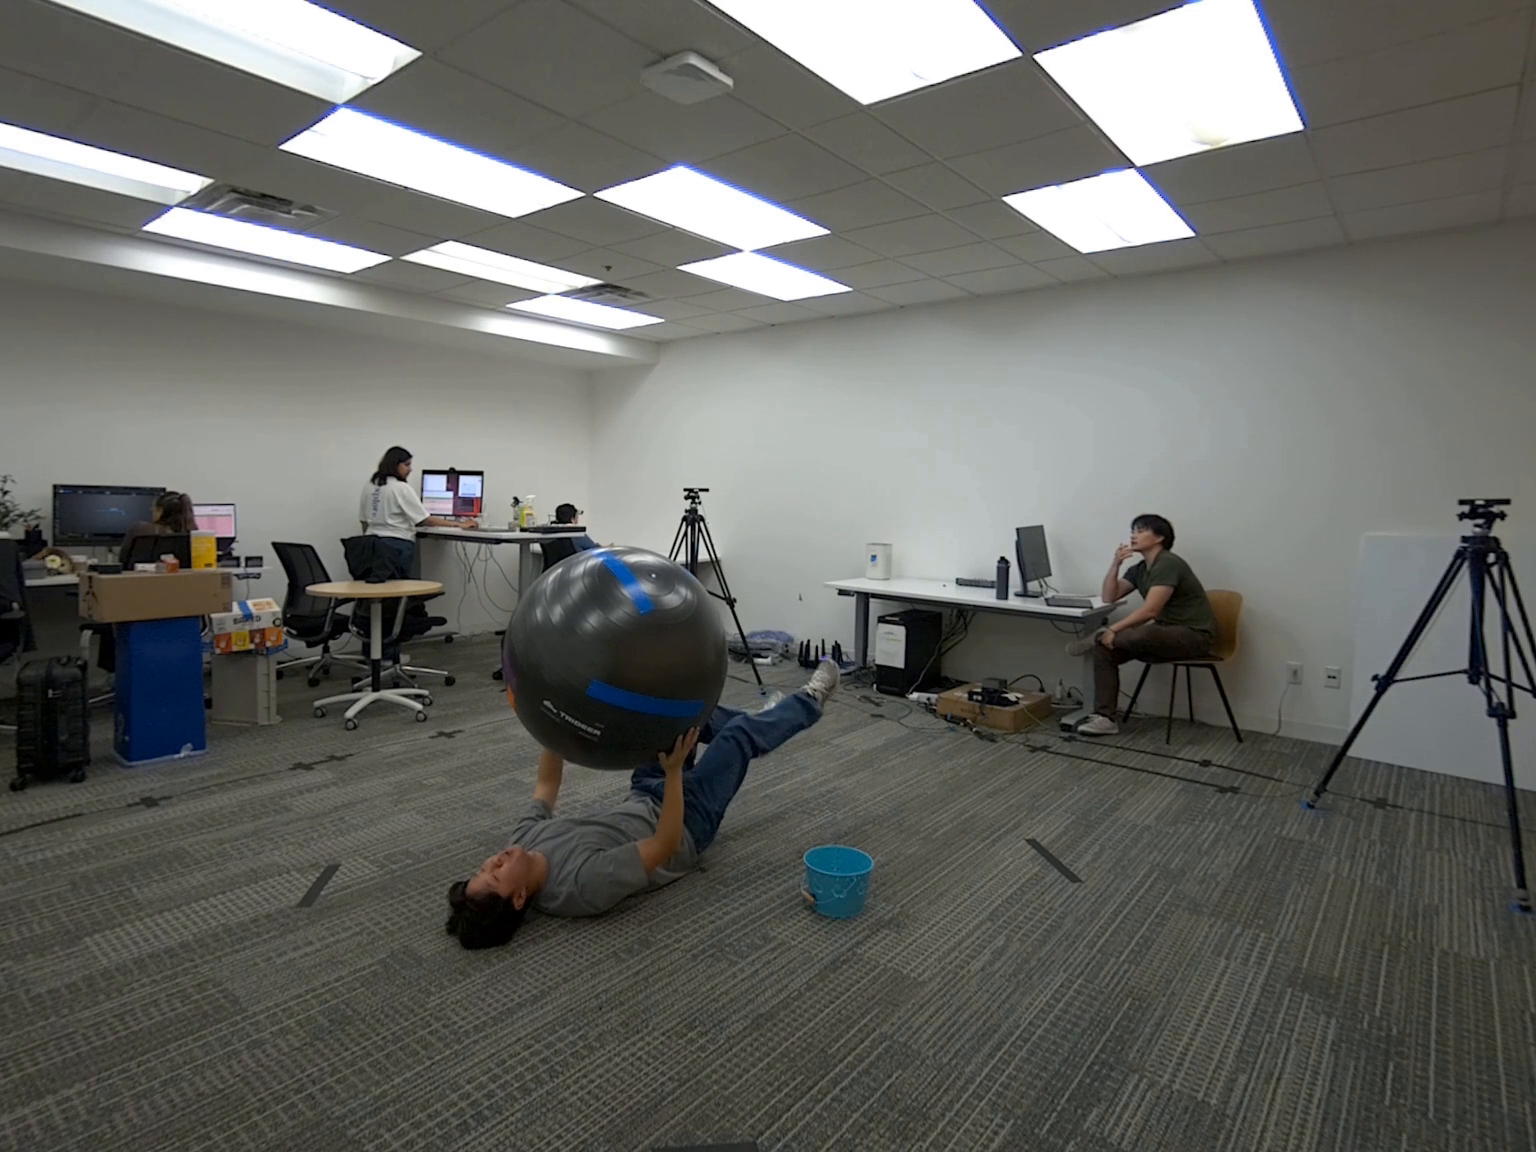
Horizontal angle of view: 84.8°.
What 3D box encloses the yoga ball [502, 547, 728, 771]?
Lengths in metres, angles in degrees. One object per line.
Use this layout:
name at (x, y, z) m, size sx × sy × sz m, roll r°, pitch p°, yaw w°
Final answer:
yoga ball at (-0.528, 0.284, 2.902) m, size 0.757 × 0.756 × 0.762 m, roll 1°, pitch 4°, yaw -2°
